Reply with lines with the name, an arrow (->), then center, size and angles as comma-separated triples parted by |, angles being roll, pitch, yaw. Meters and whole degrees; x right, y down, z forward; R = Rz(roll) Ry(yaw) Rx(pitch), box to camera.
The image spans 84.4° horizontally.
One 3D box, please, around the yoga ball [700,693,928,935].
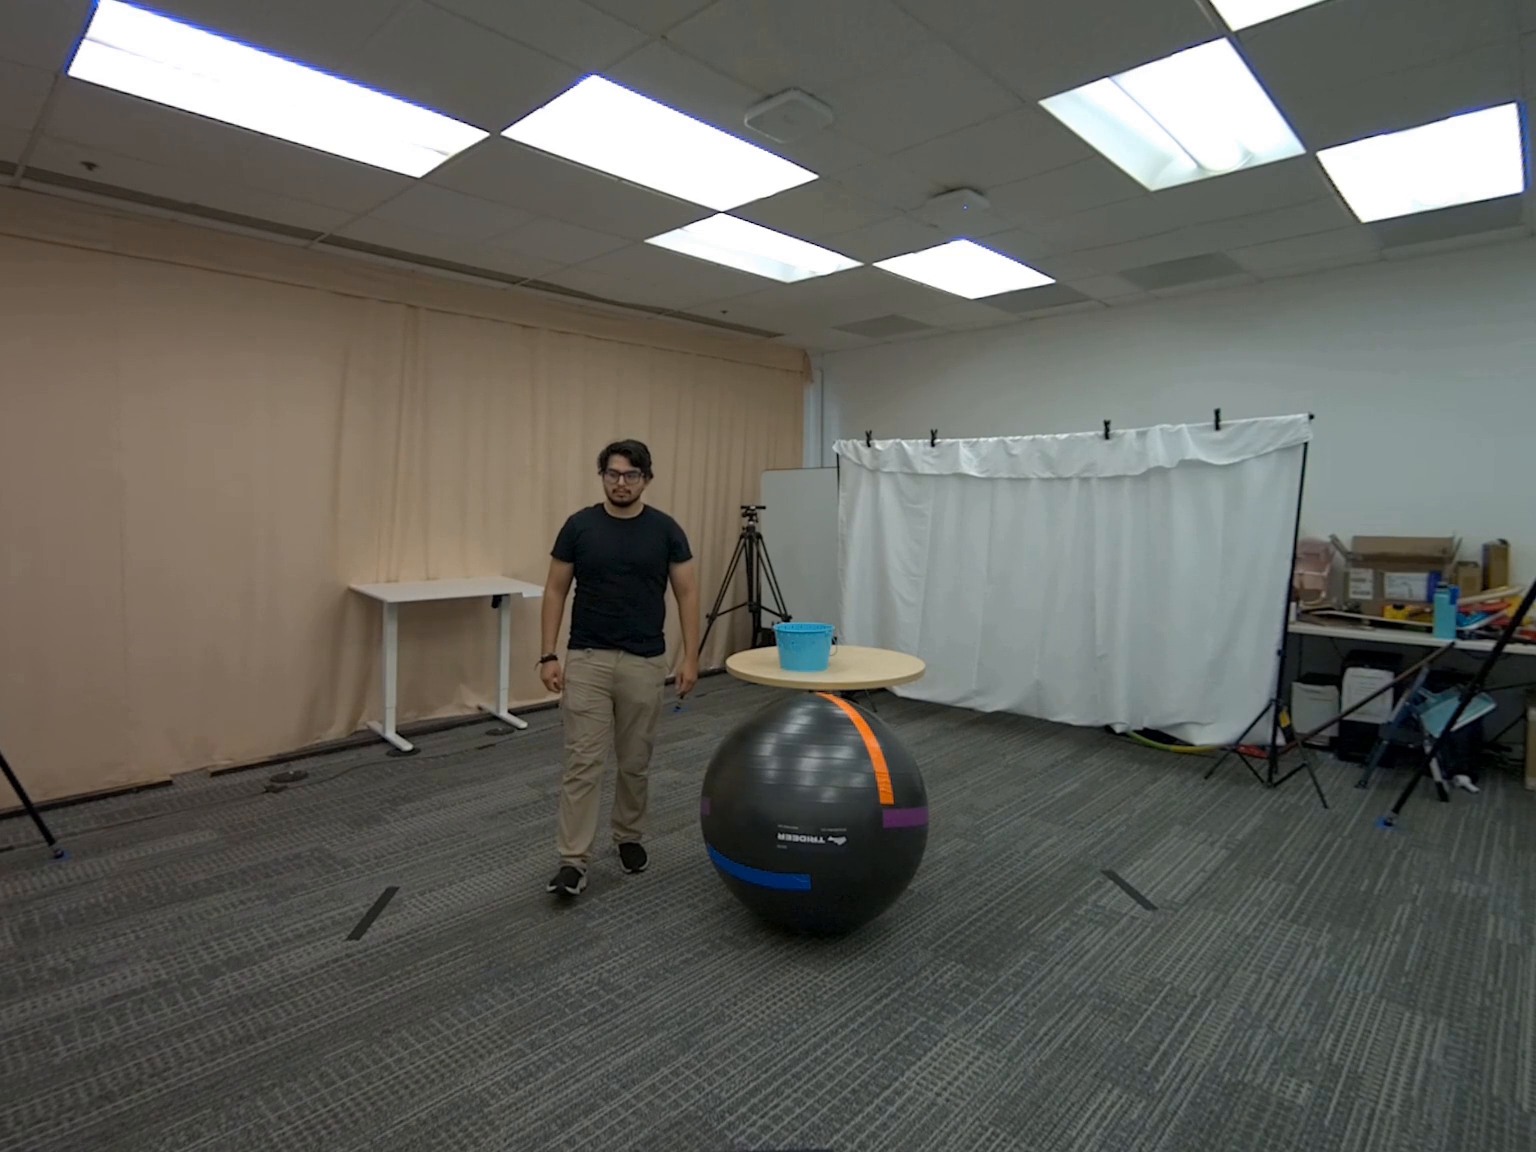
yoga ball -> 0.149, 0.790, 2.821 | 0.757, 0.756, 0.760 | 0, 4, -2
